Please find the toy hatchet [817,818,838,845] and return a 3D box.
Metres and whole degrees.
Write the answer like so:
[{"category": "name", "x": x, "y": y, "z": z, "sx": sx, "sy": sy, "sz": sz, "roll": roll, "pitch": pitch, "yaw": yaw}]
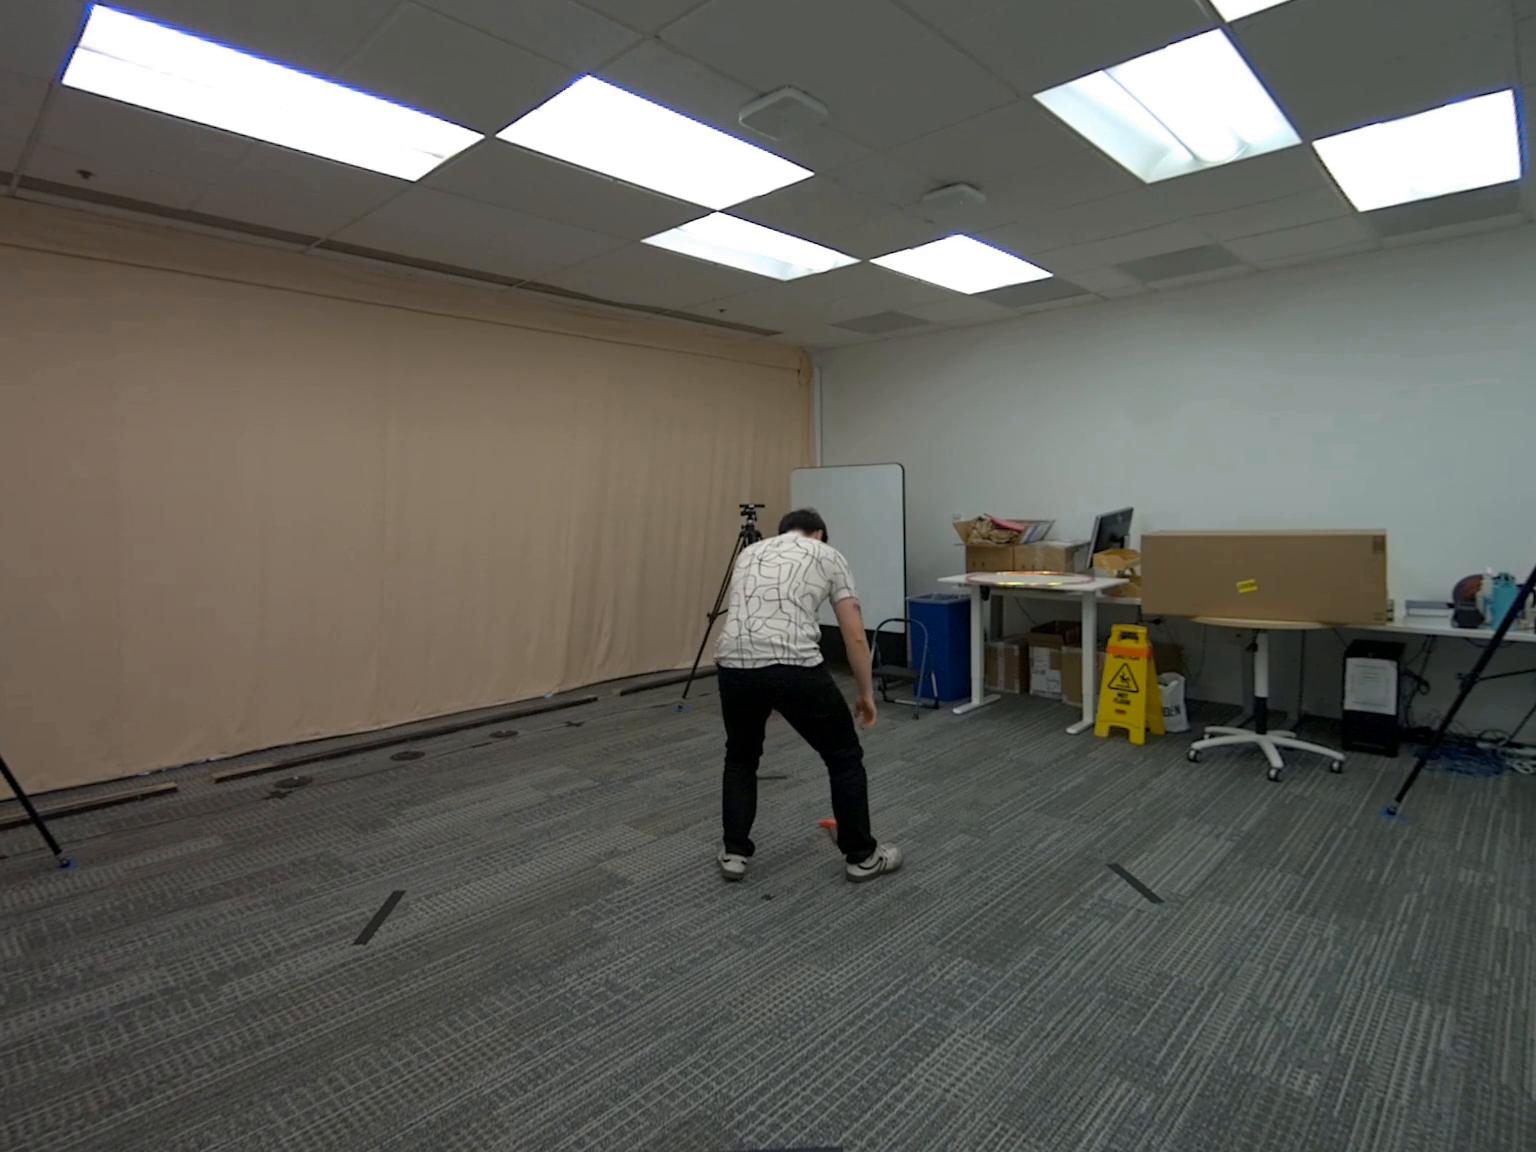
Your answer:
[{"category": "toy hatchet", "x": 0.315, "y": 1.076, "z": 3.513, "sx": 0.128, "sy": 0.029, "sz": 0.276, "roll": 2, "pitch": 5, "yaw": -20}]
